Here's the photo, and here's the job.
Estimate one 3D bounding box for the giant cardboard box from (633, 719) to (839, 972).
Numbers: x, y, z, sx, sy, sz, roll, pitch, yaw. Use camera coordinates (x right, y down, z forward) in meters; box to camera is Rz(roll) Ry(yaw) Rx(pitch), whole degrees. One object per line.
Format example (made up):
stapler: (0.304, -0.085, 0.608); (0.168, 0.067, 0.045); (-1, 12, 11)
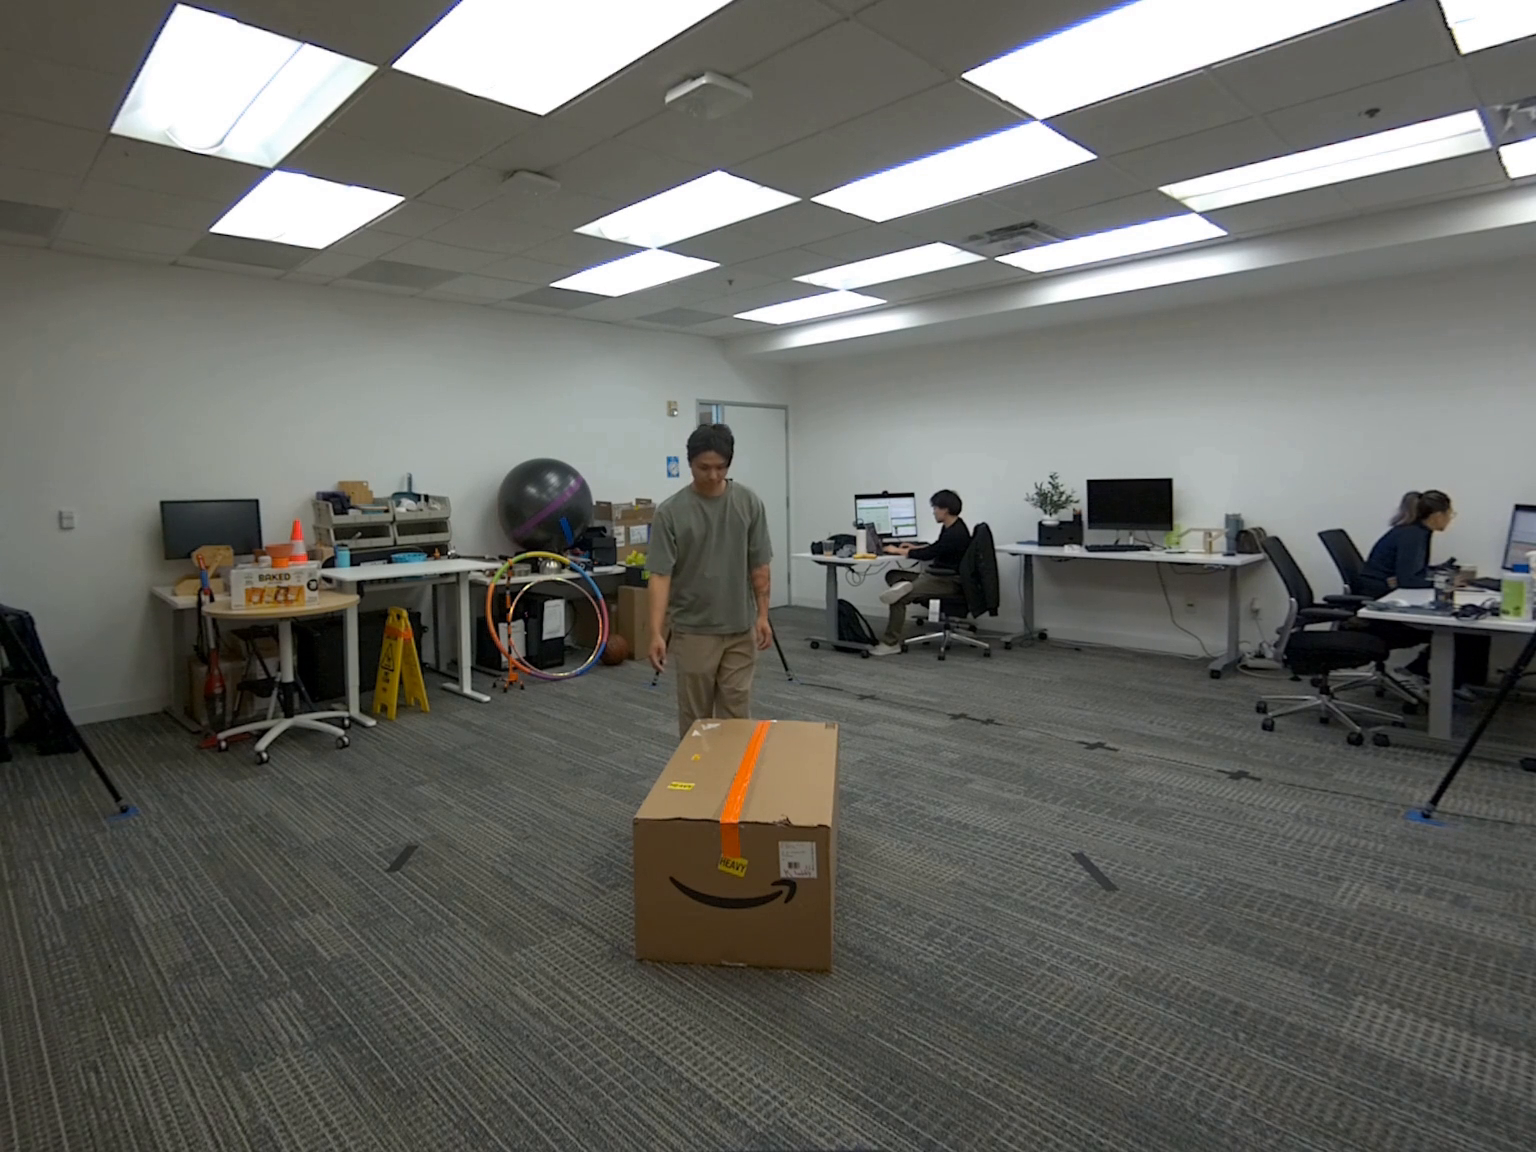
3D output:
giant cardboard box: (-0.055, 0.848, 2.938); (0.582, 0.424, 1.023); (0, 6, 6)
